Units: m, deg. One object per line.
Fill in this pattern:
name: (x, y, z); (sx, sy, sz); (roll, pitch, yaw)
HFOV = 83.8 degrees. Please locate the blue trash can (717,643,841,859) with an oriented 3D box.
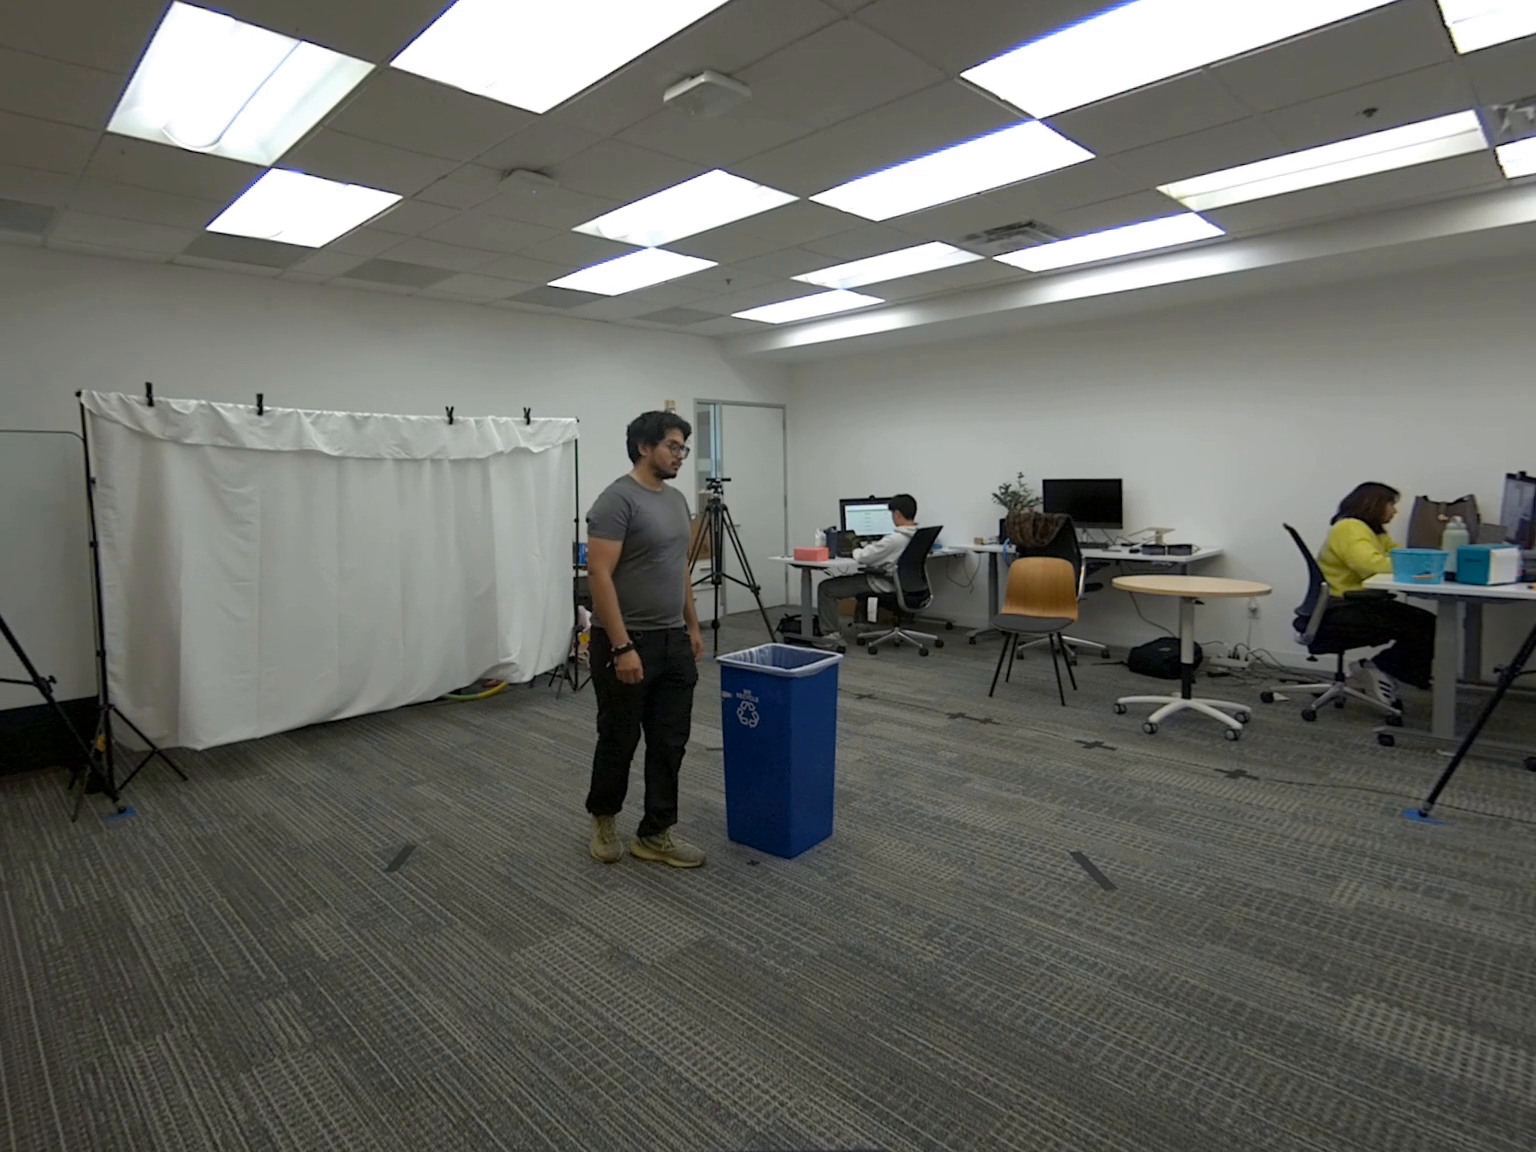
blue trash can: (0.058, 0.662, 3.305); (0.385, 0.711, 0.368); (3, 6, 39)
